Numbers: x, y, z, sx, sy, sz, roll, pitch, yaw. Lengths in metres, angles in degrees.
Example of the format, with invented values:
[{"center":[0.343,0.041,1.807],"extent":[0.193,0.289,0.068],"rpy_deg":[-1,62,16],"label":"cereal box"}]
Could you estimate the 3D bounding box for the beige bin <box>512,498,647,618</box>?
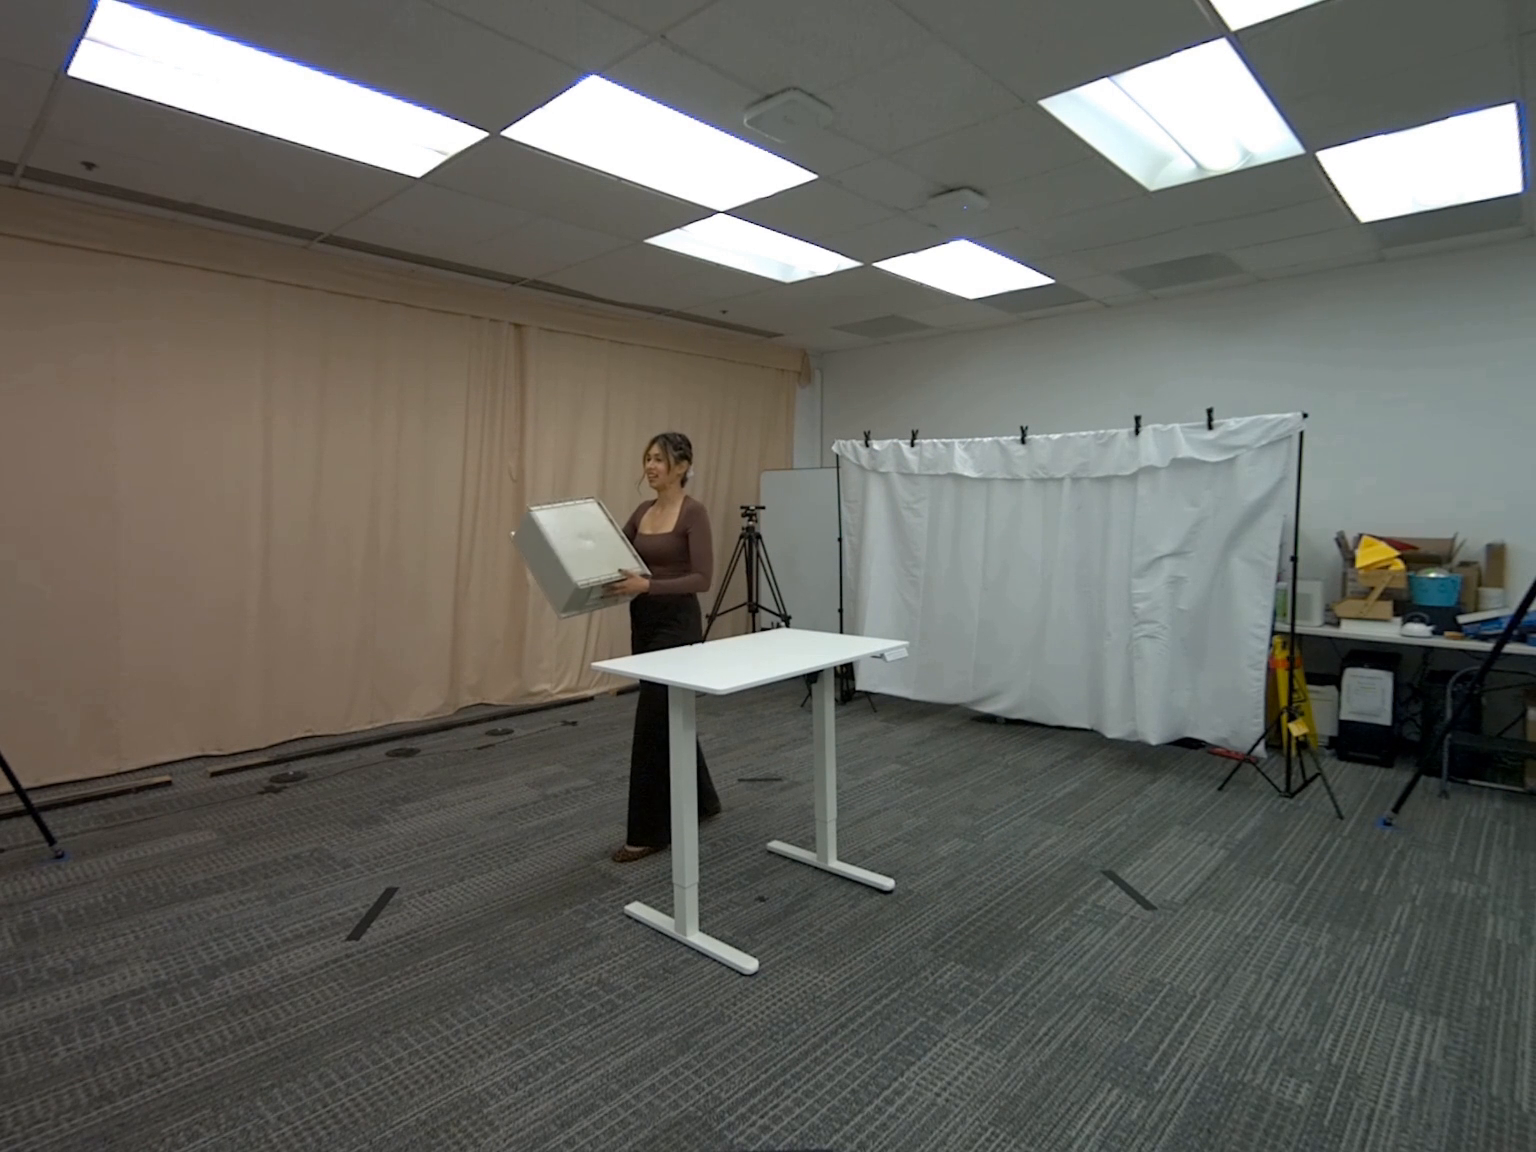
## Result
[{"center":[-0.711,-0.080,3.235],"extent":[0.367,0.433,0.189],"rpy_deg":[-13,-33,-46],"label":"beige bin"}]
